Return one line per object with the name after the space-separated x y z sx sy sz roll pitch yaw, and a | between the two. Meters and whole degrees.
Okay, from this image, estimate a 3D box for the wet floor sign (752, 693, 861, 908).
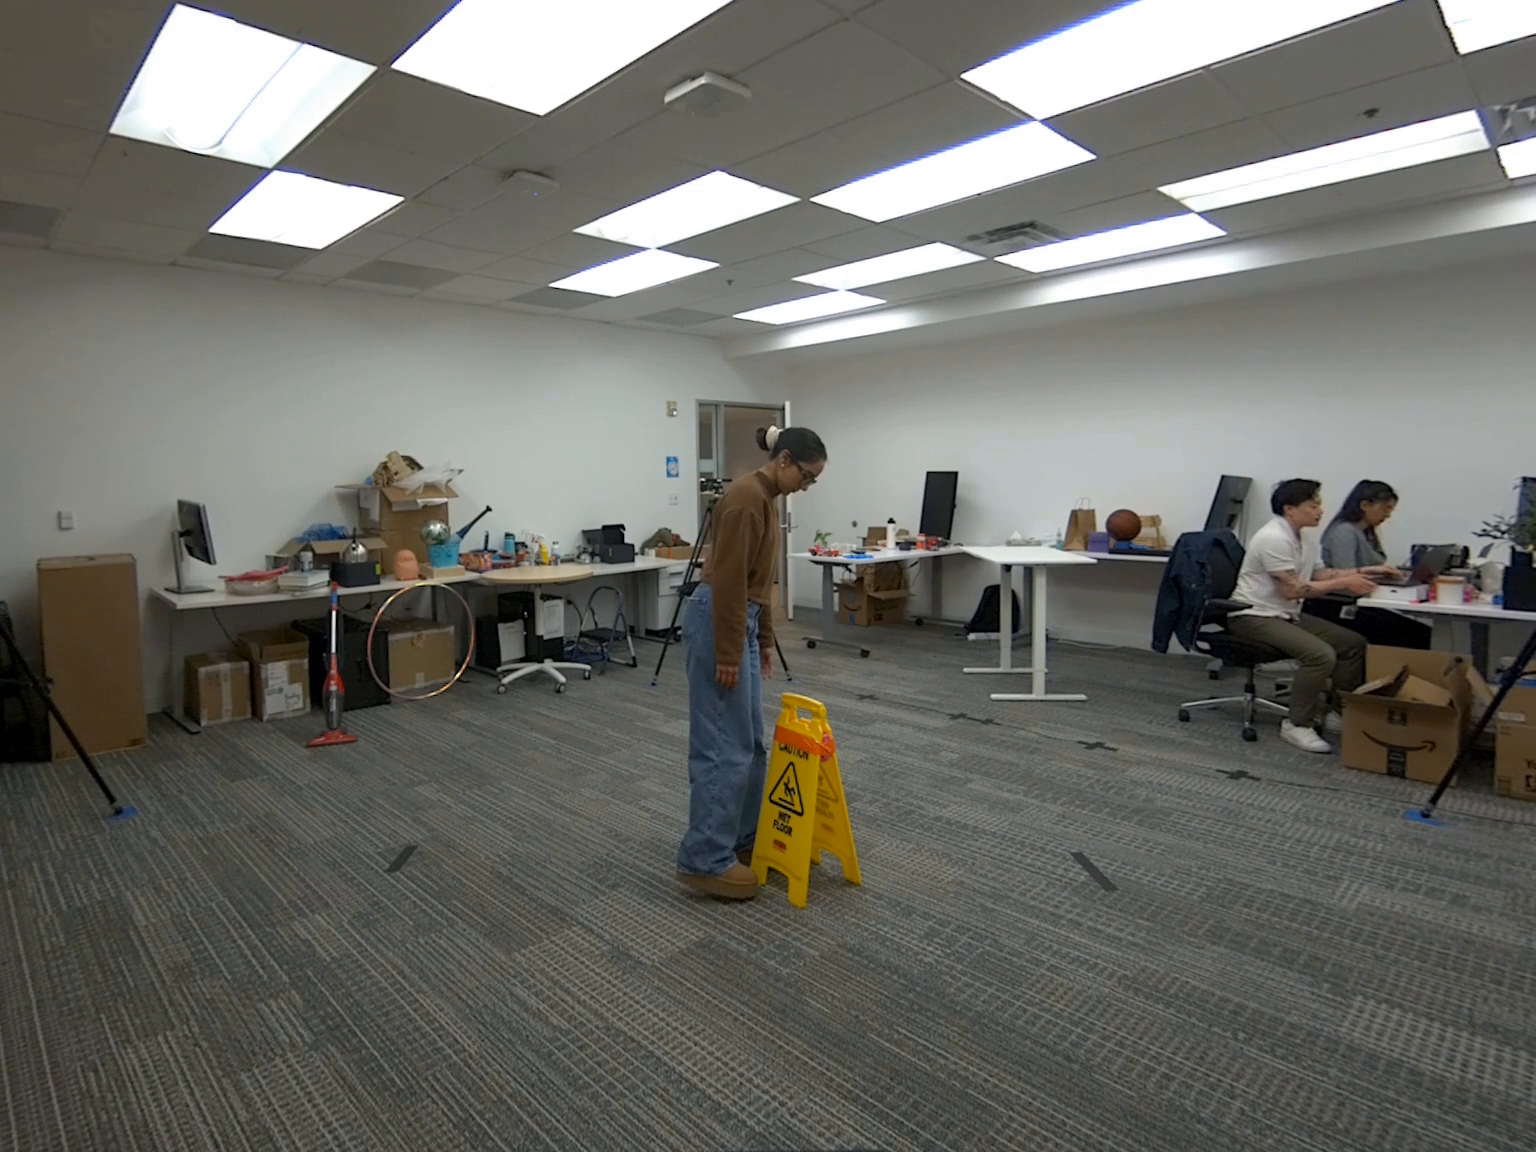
0.123 0.734 2.933 0.282 0.644 0.291 -4 5 -39 | wet floor sign
